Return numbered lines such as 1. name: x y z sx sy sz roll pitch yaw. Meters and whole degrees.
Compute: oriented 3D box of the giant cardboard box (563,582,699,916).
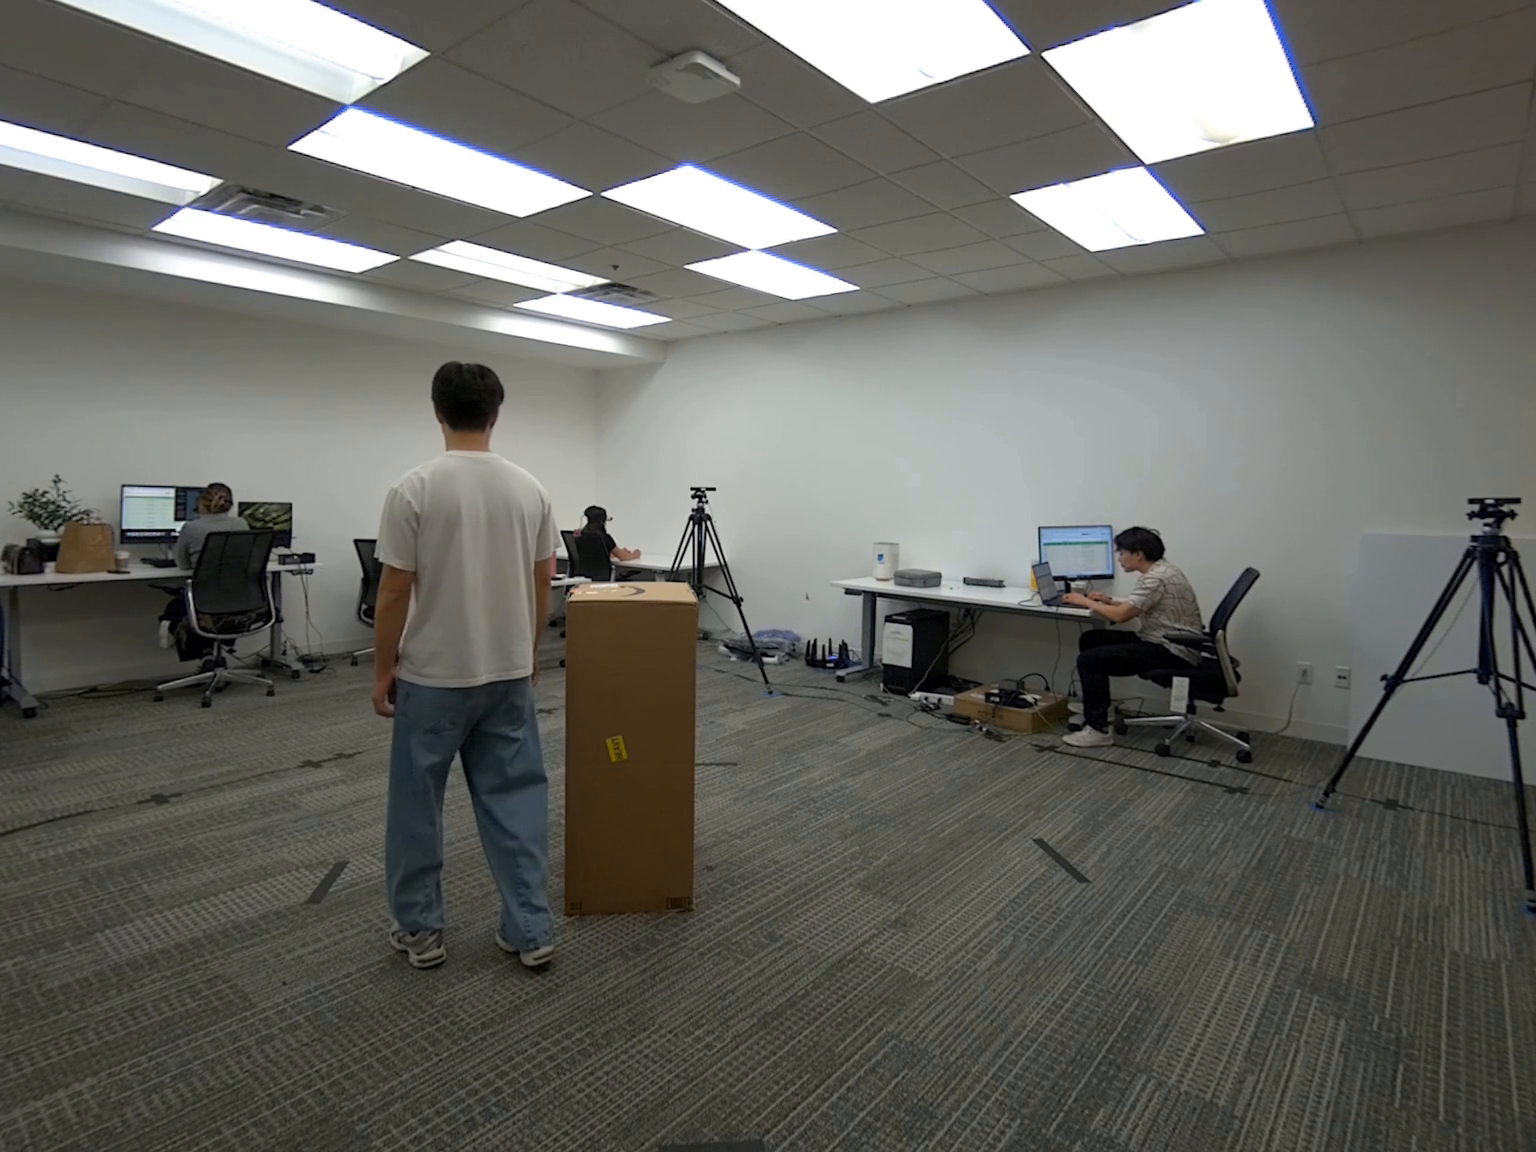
1. giant cardboard box: -0.496 0.561 3.027 0.423 1.023 0.584 1 3 -8
